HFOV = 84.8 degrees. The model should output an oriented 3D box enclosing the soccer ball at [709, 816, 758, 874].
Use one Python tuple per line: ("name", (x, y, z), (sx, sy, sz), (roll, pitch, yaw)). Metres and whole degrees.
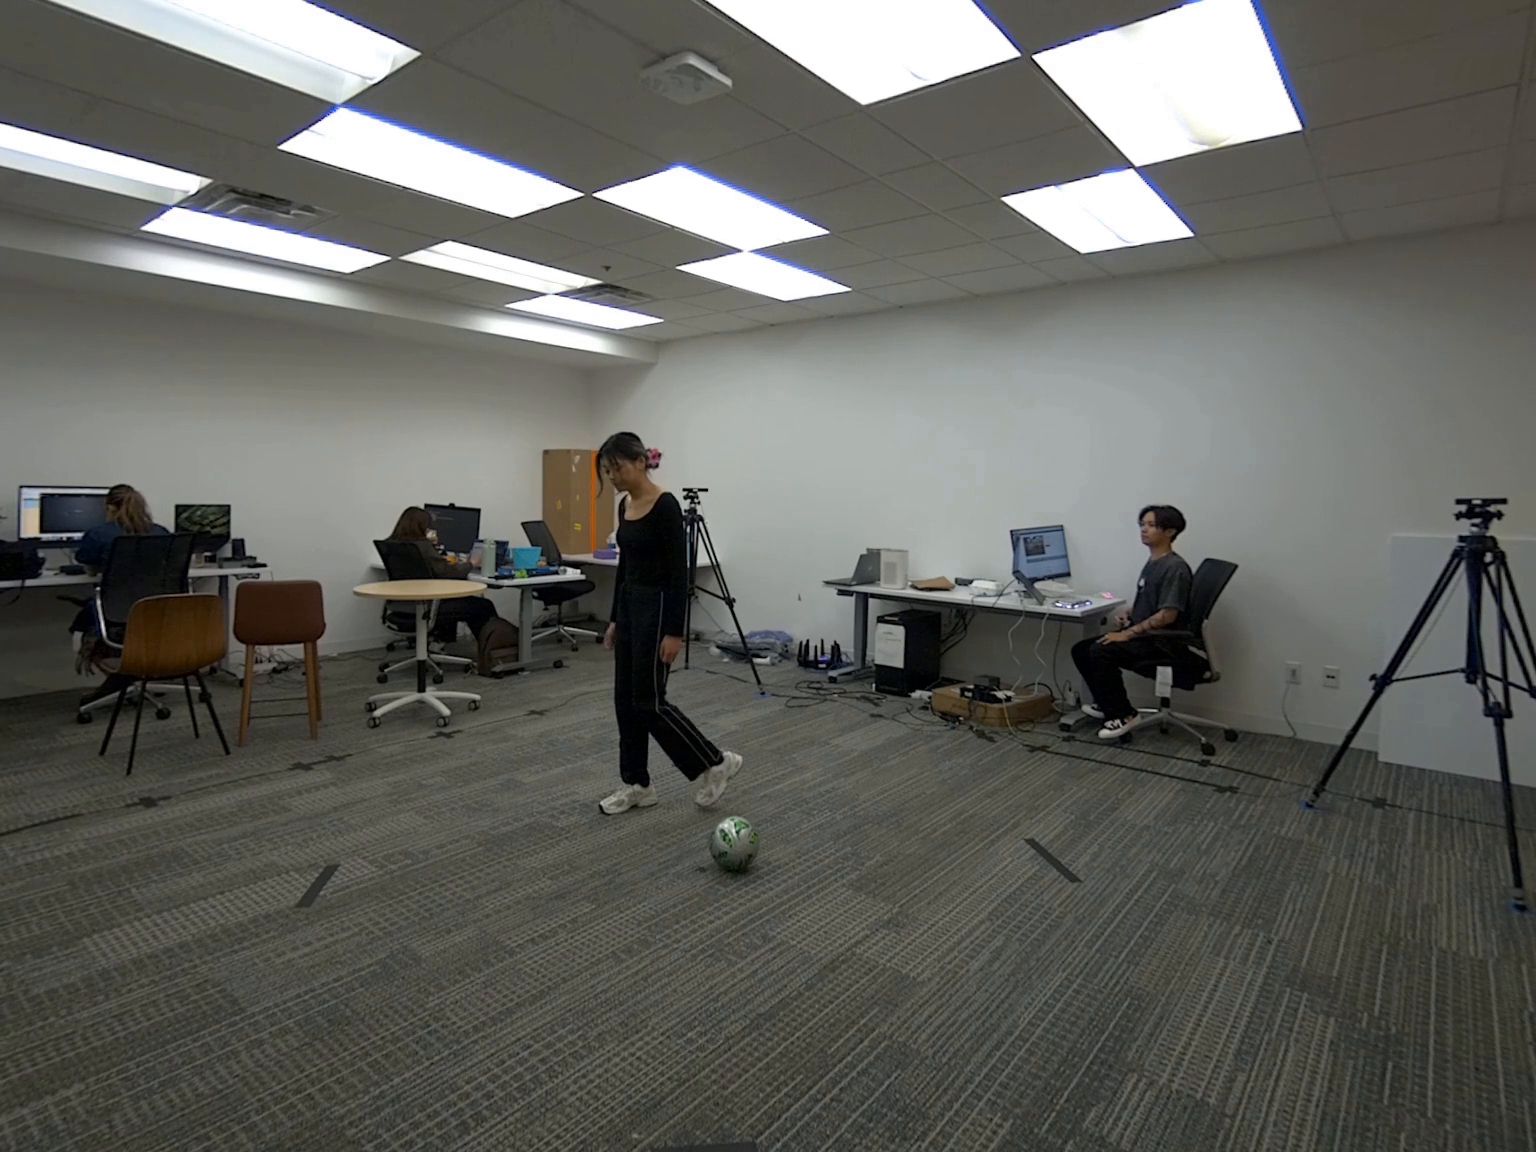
("soccer ball", (-0.132, 0.976, 3.124), (0.187, 0.187, 0.188), (1, 4, -2))
